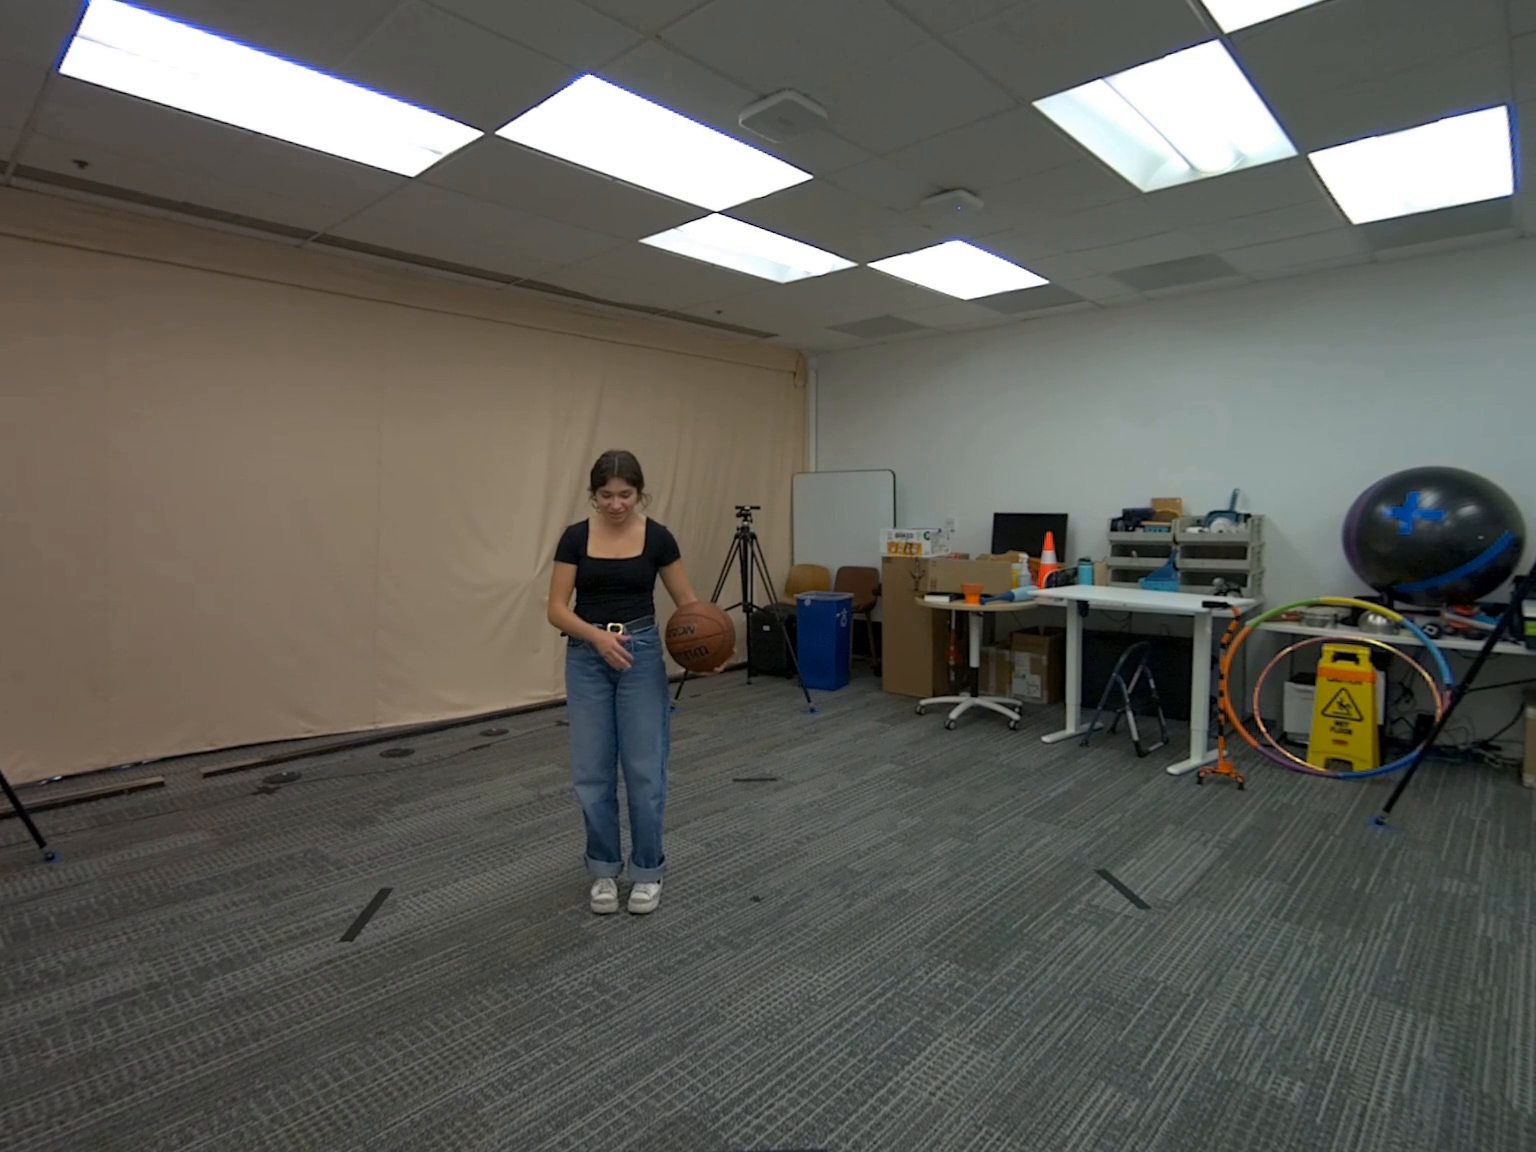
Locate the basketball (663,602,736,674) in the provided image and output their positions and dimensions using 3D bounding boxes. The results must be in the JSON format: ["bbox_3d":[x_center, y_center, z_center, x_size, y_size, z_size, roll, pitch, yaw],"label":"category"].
[{"bbox_3d":[-0.231,0.204,2.837,0.236,0.235,0.237,0,4,-2],"label":"basketball"}]
